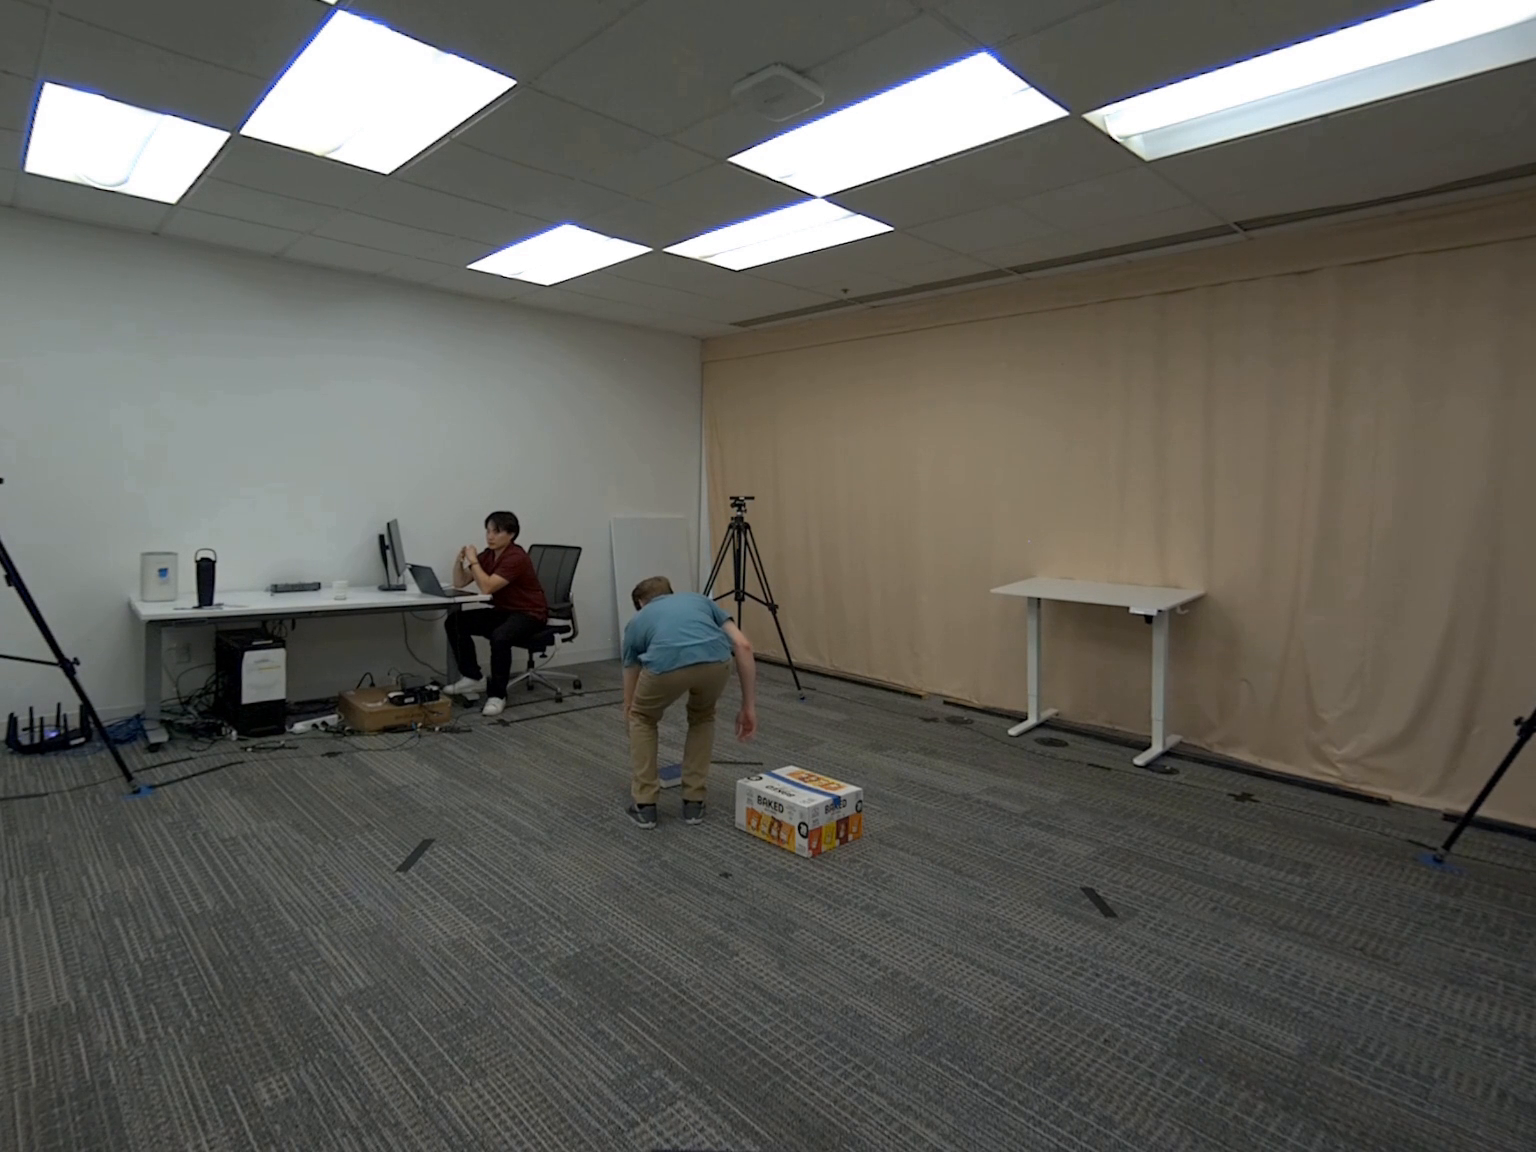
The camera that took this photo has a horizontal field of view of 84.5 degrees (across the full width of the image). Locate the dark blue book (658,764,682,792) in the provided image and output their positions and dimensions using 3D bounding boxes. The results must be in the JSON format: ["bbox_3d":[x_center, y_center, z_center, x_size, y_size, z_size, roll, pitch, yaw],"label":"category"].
[{"bbox_3d":[-0.474,0.987,4.154,0.239,0.045,0.167,-2,6,-43],"label":"dark blue book"}]
